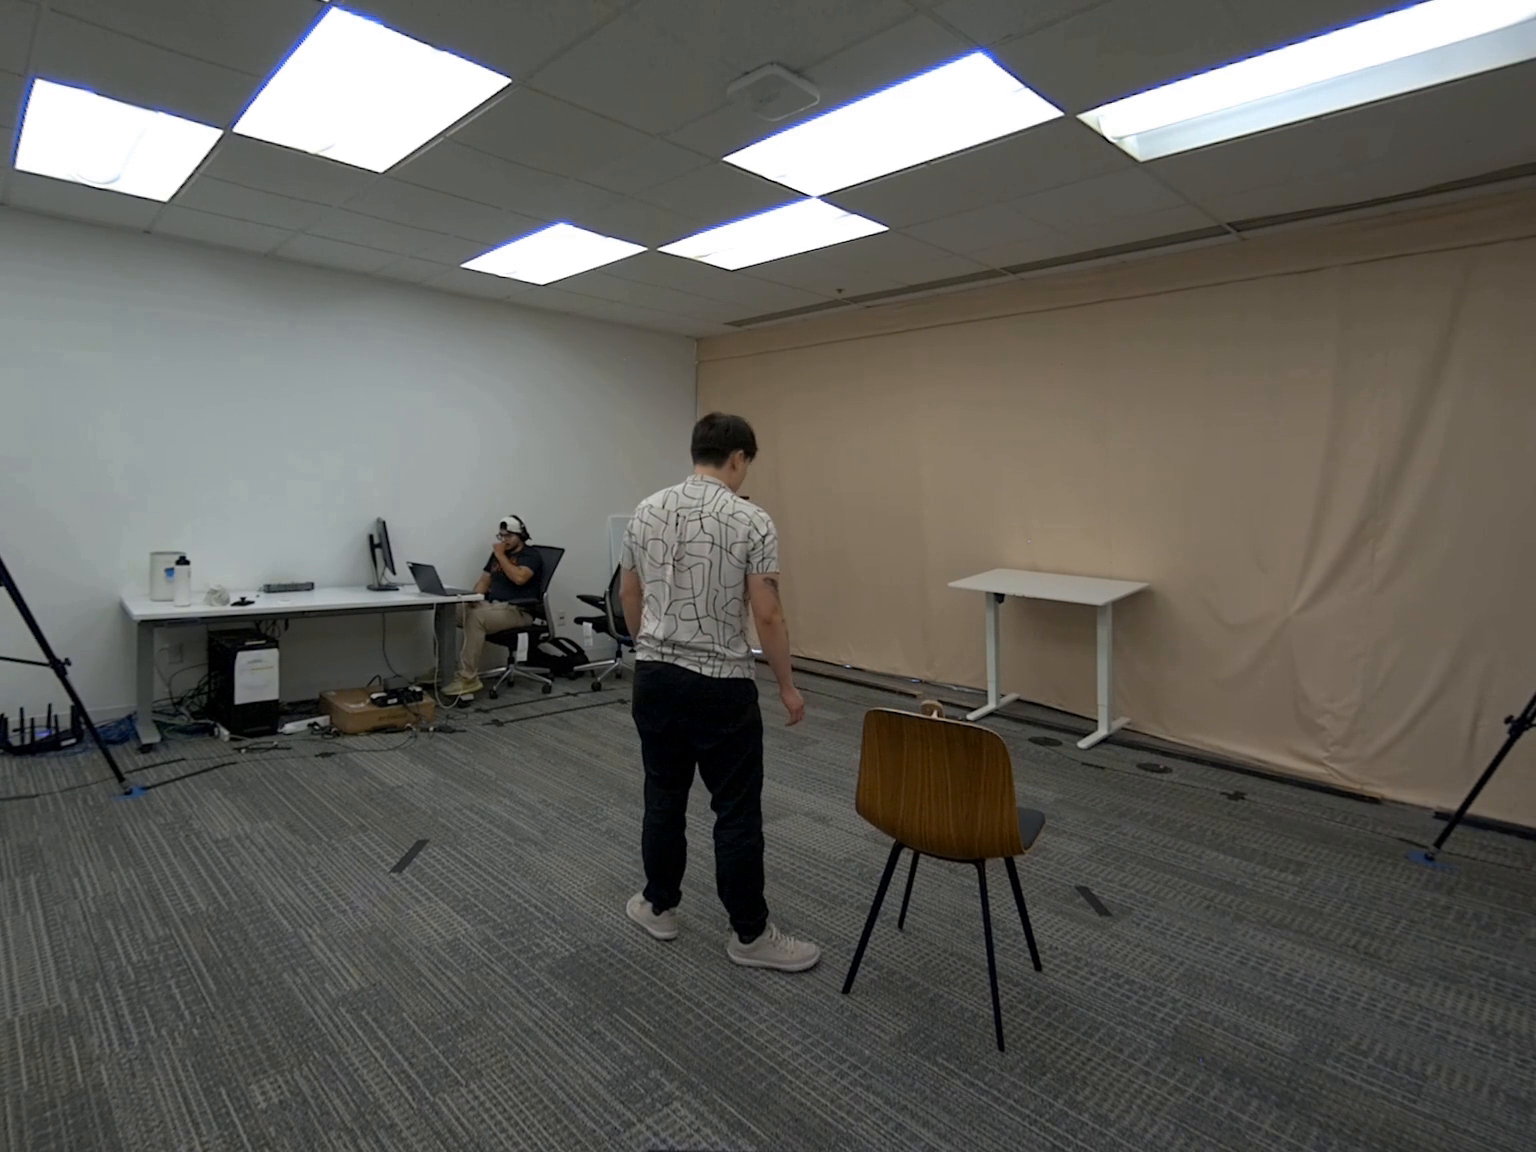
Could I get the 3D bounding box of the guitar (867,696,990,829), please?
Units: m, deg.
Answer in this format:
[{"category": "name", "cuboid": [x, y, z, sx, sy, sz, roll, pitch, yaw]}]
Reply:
[{"category": "guitar", "cuboid": [0.447, 0.516, 2.323, 0.197, 0.483, 0.071, -2, 43, 32]}]
